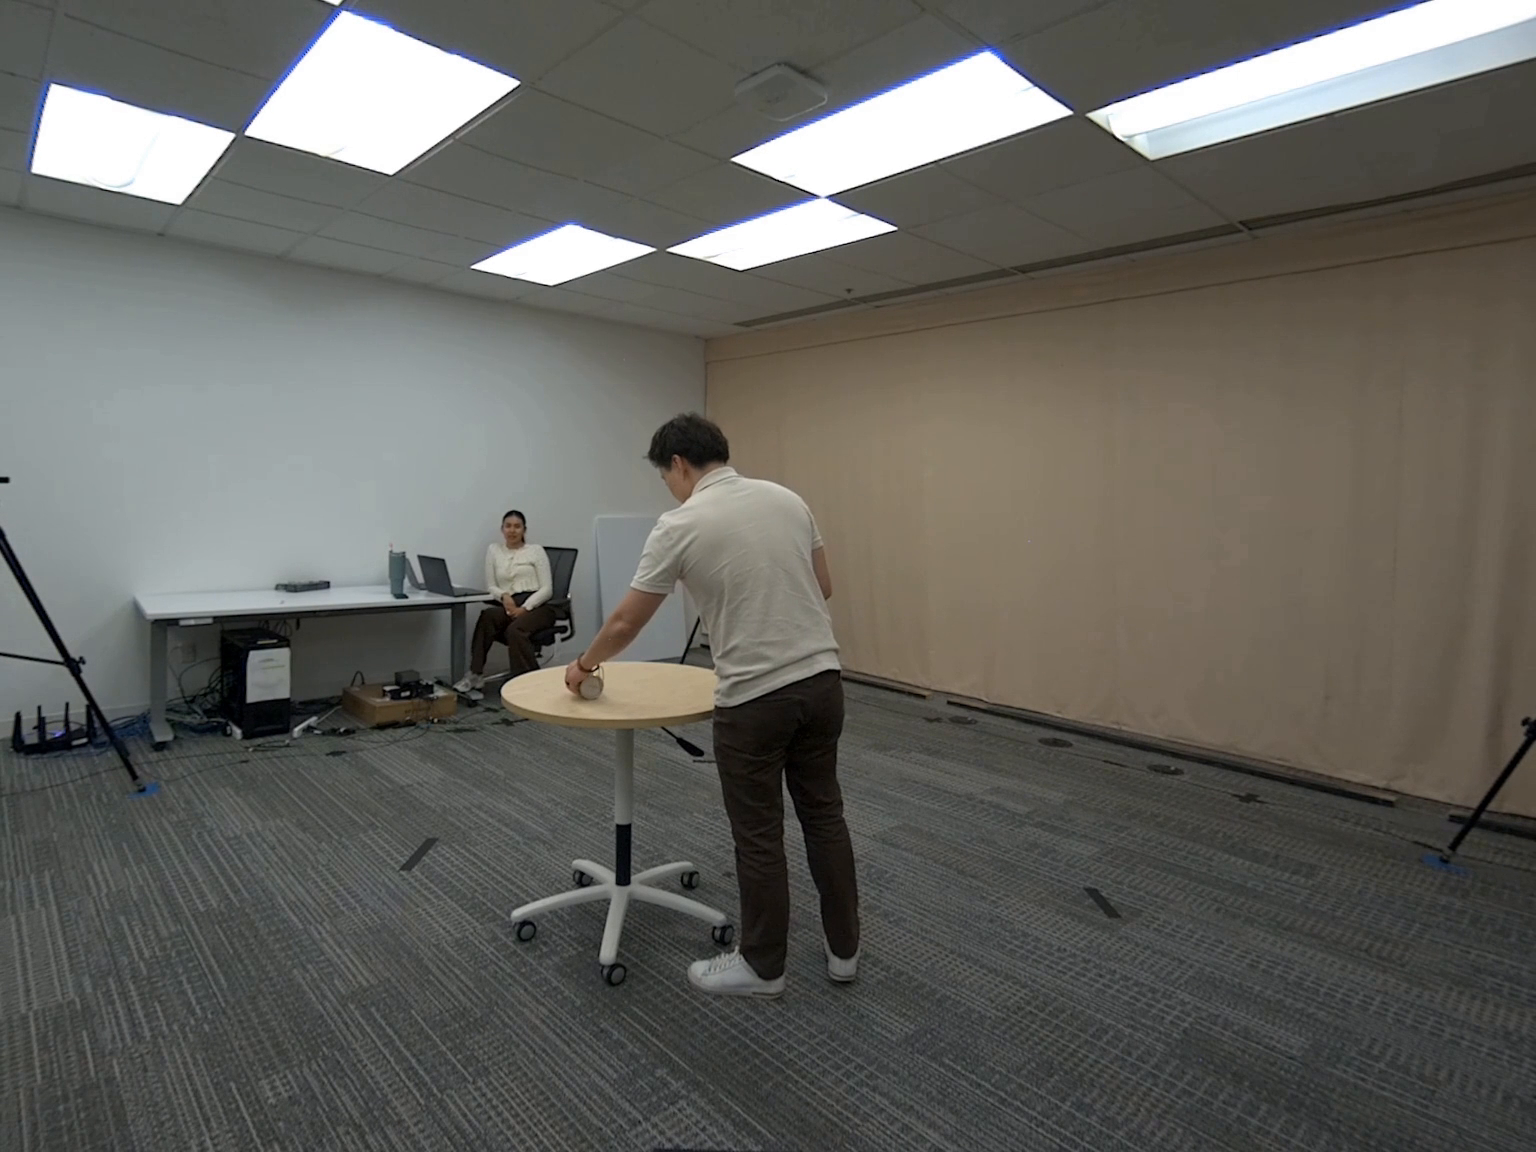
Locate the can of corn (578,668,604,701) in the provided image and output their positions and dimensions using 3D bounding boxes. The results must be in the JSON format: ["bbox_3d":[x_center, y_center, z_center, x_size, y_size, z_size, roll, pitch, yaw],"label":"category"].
[{"bbox_3d":[-0.545,0.325,2.546,0.073,0.074,0.113,0,6,-17],"label":"can of corn"}]
